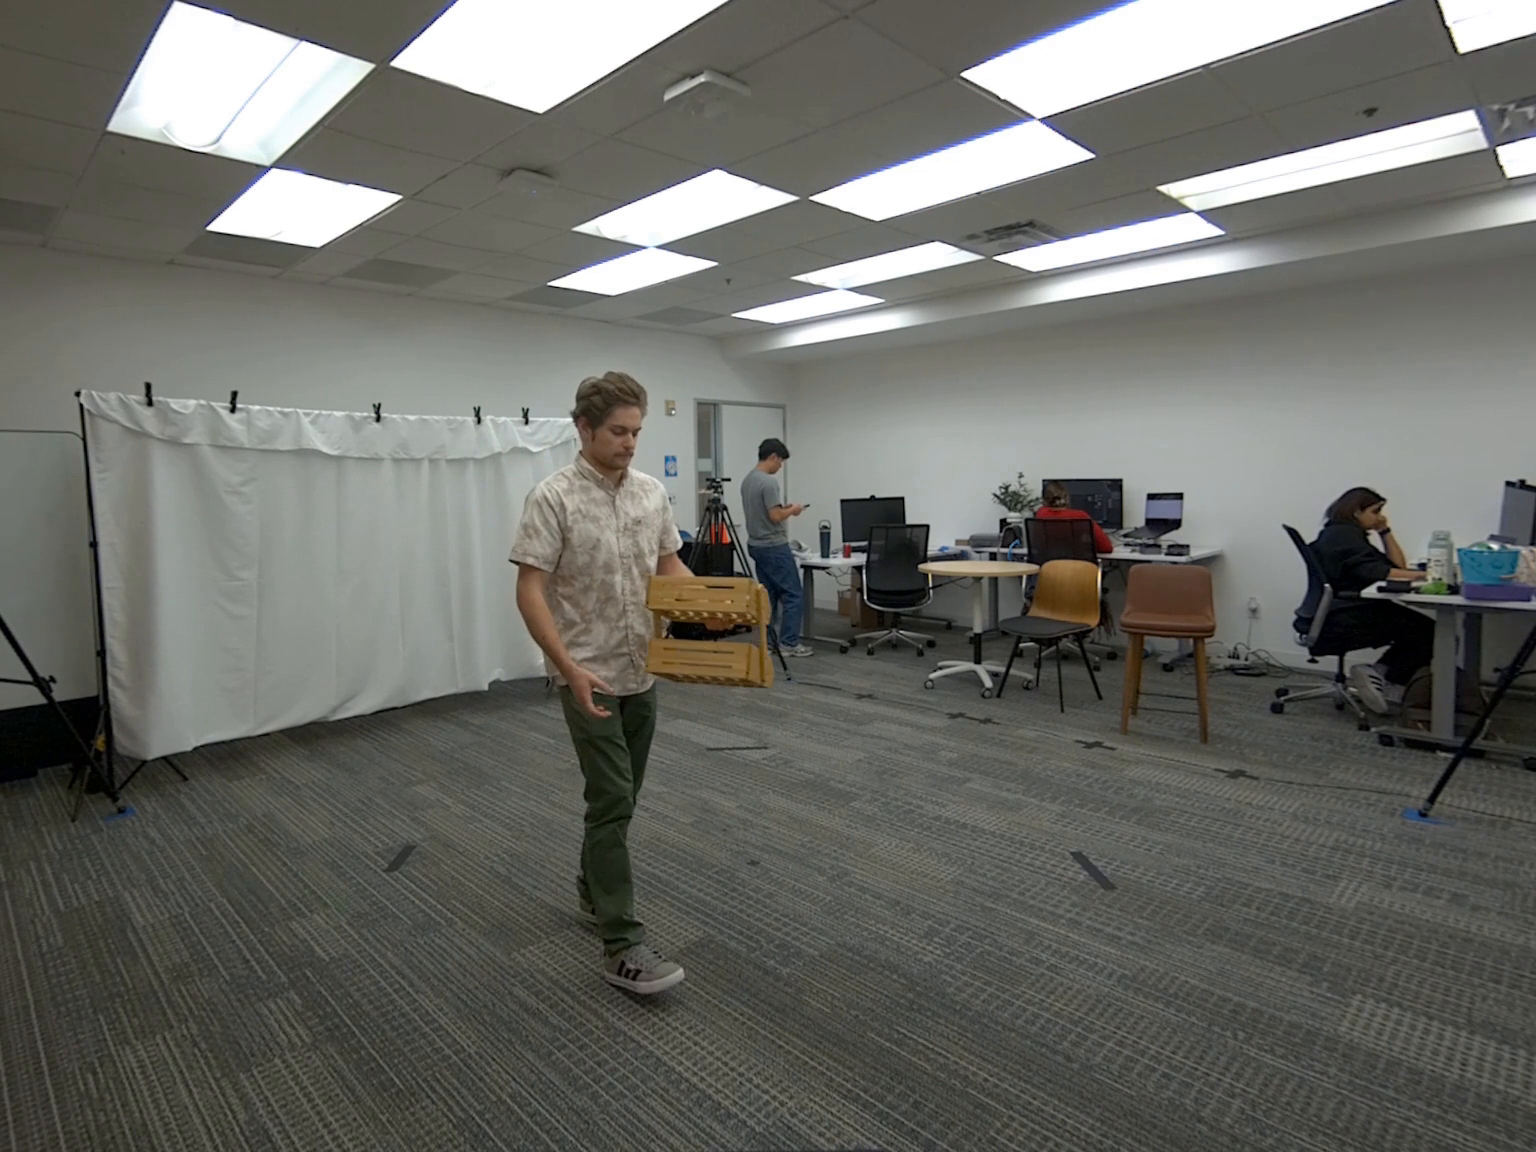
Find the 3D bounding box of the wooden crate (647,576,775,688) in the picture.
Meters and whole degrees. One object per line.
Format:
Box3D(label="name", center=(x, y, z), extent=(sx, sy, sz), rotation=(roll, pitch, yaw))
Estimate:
Box3D(label="wooden crate", center=(-0.151, 0.151, 2.445), extent=(0.330, 0.276, 0.293), rotation=(1, -14, 19))
